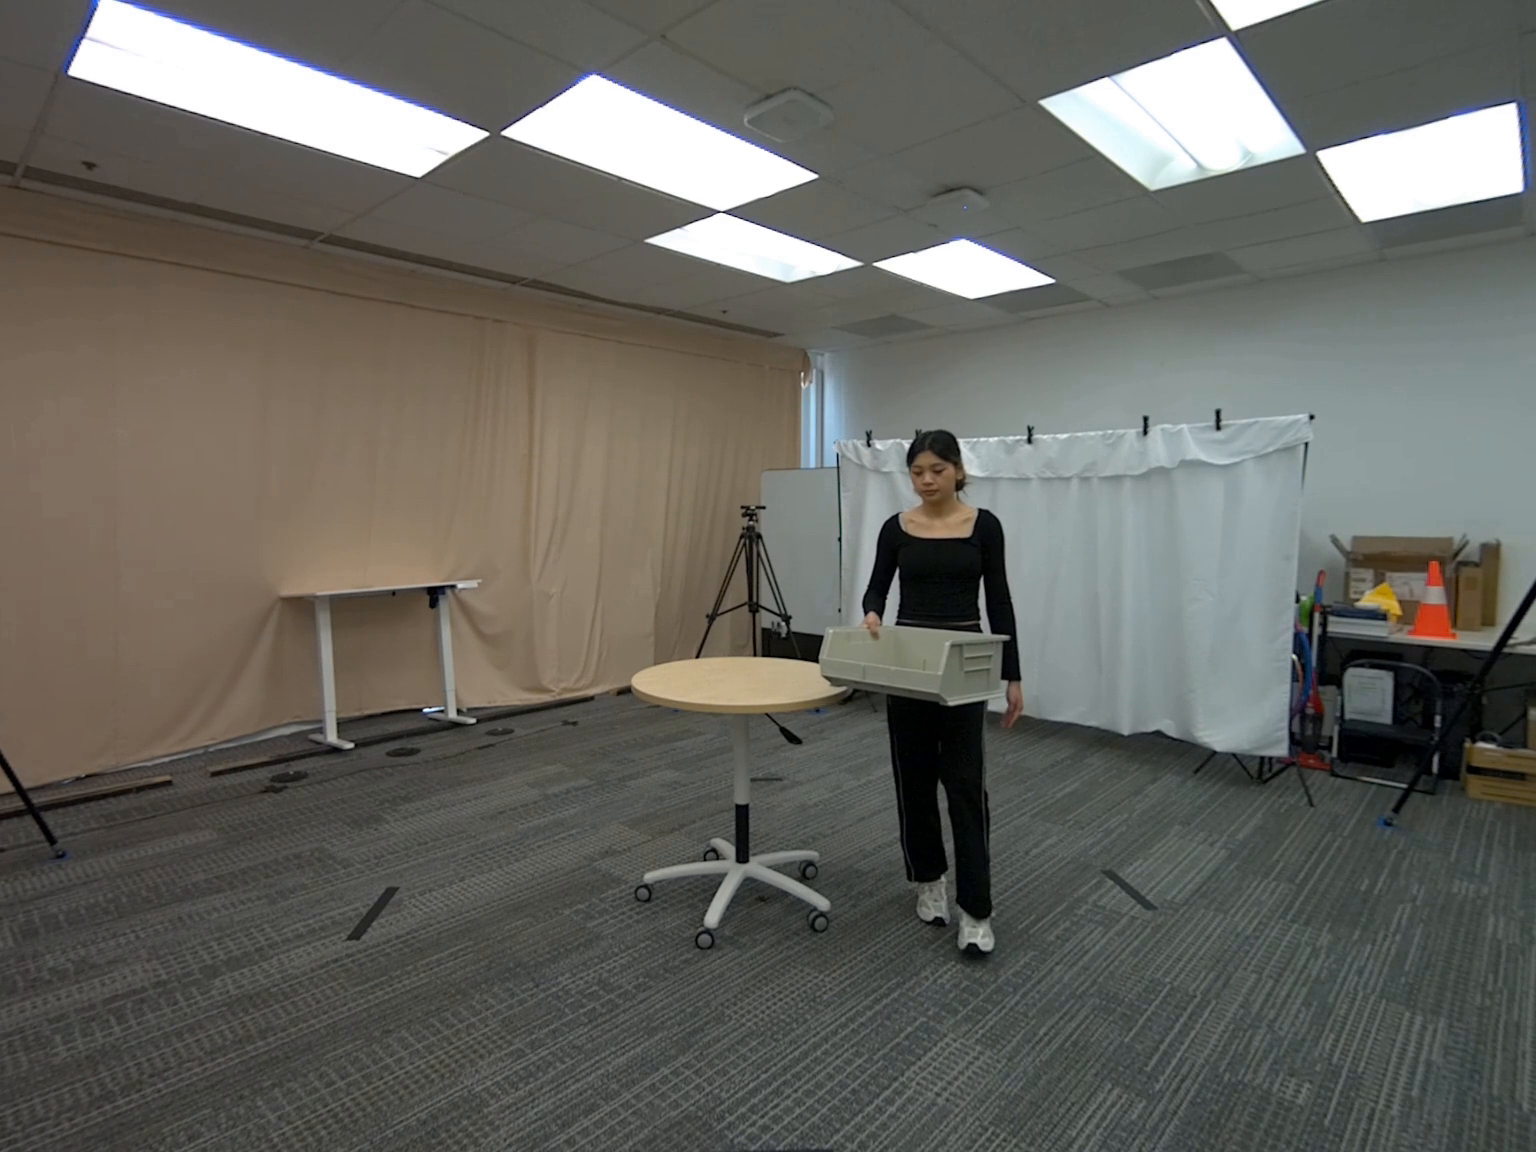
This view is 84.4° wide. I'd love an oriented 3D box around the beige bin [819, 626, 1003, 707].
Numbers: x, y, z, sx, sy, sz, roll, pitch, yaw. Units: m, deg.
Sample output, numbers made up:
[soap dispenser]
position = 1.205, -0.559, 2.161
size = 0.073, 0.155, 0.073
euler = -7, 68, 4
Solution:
[beige bin]
position = 0.438, 0.257, 2.515
size = 0.436, 0.189, 0.365
euler = 1, -2, 44
